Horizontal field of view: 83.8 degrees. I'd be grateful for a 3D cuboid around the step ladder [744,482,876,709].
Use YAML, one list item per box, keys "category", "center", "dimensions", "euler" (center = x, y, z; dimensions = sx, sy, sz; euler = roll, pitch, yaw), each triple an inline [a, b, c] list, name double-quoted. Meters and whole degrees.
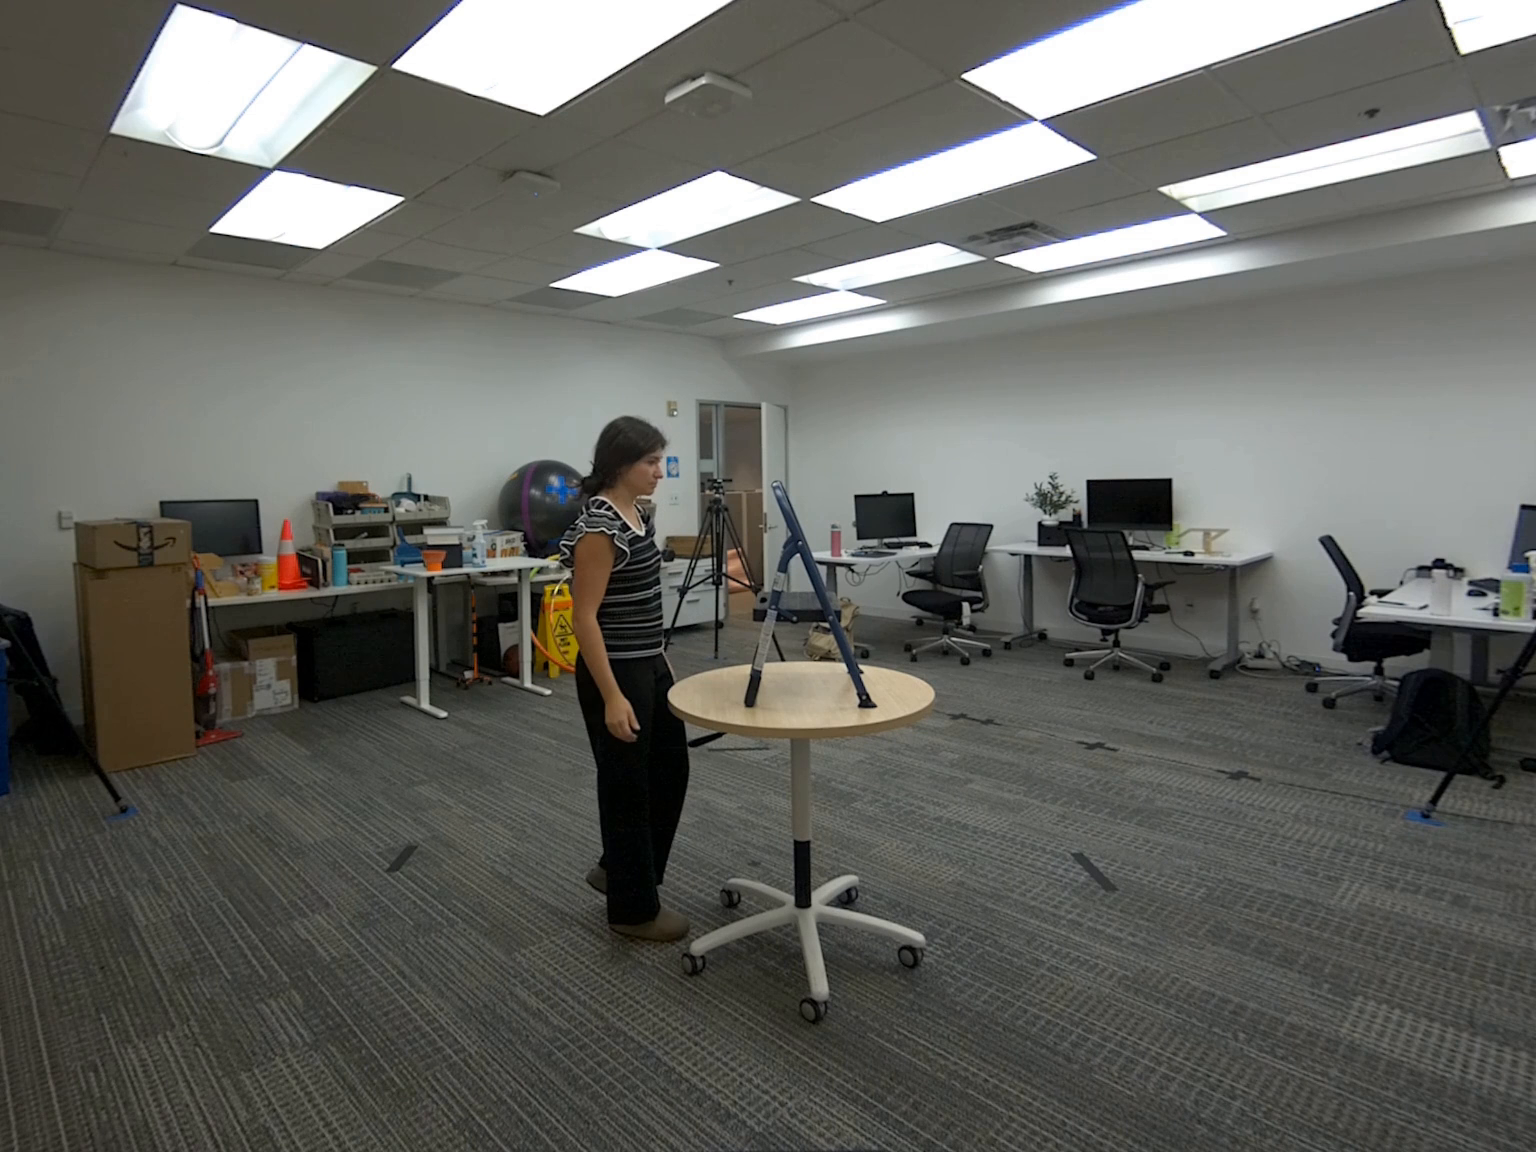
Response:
- category: "step ladder"
  center: [0.113, 0.036, 2.473]
  dimensions: [0.350, 0.606, 0.430]
  euler: [-2, 1, 2]
